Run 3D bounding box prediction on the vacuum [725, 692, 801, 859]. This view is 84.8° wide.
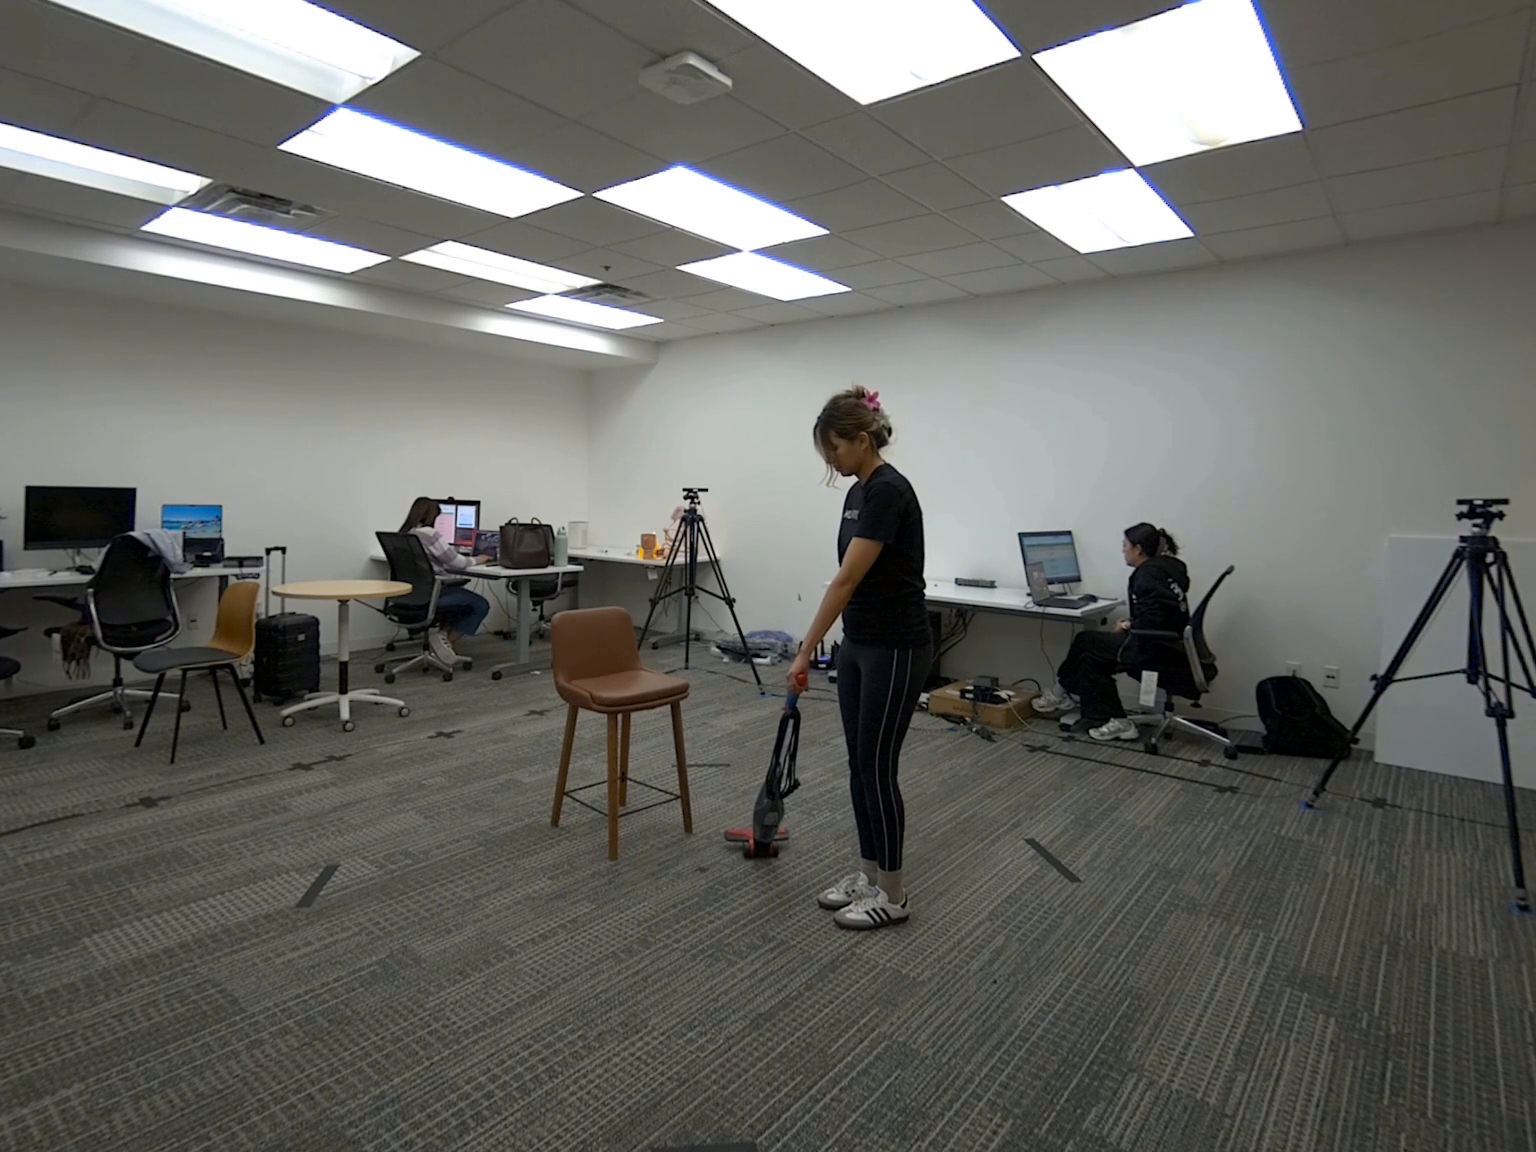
[{"bbox_3d":[0.021,0.680,2.916,0.250,1.024,0.149,1,46,-8],"label":"vacuum"}]
